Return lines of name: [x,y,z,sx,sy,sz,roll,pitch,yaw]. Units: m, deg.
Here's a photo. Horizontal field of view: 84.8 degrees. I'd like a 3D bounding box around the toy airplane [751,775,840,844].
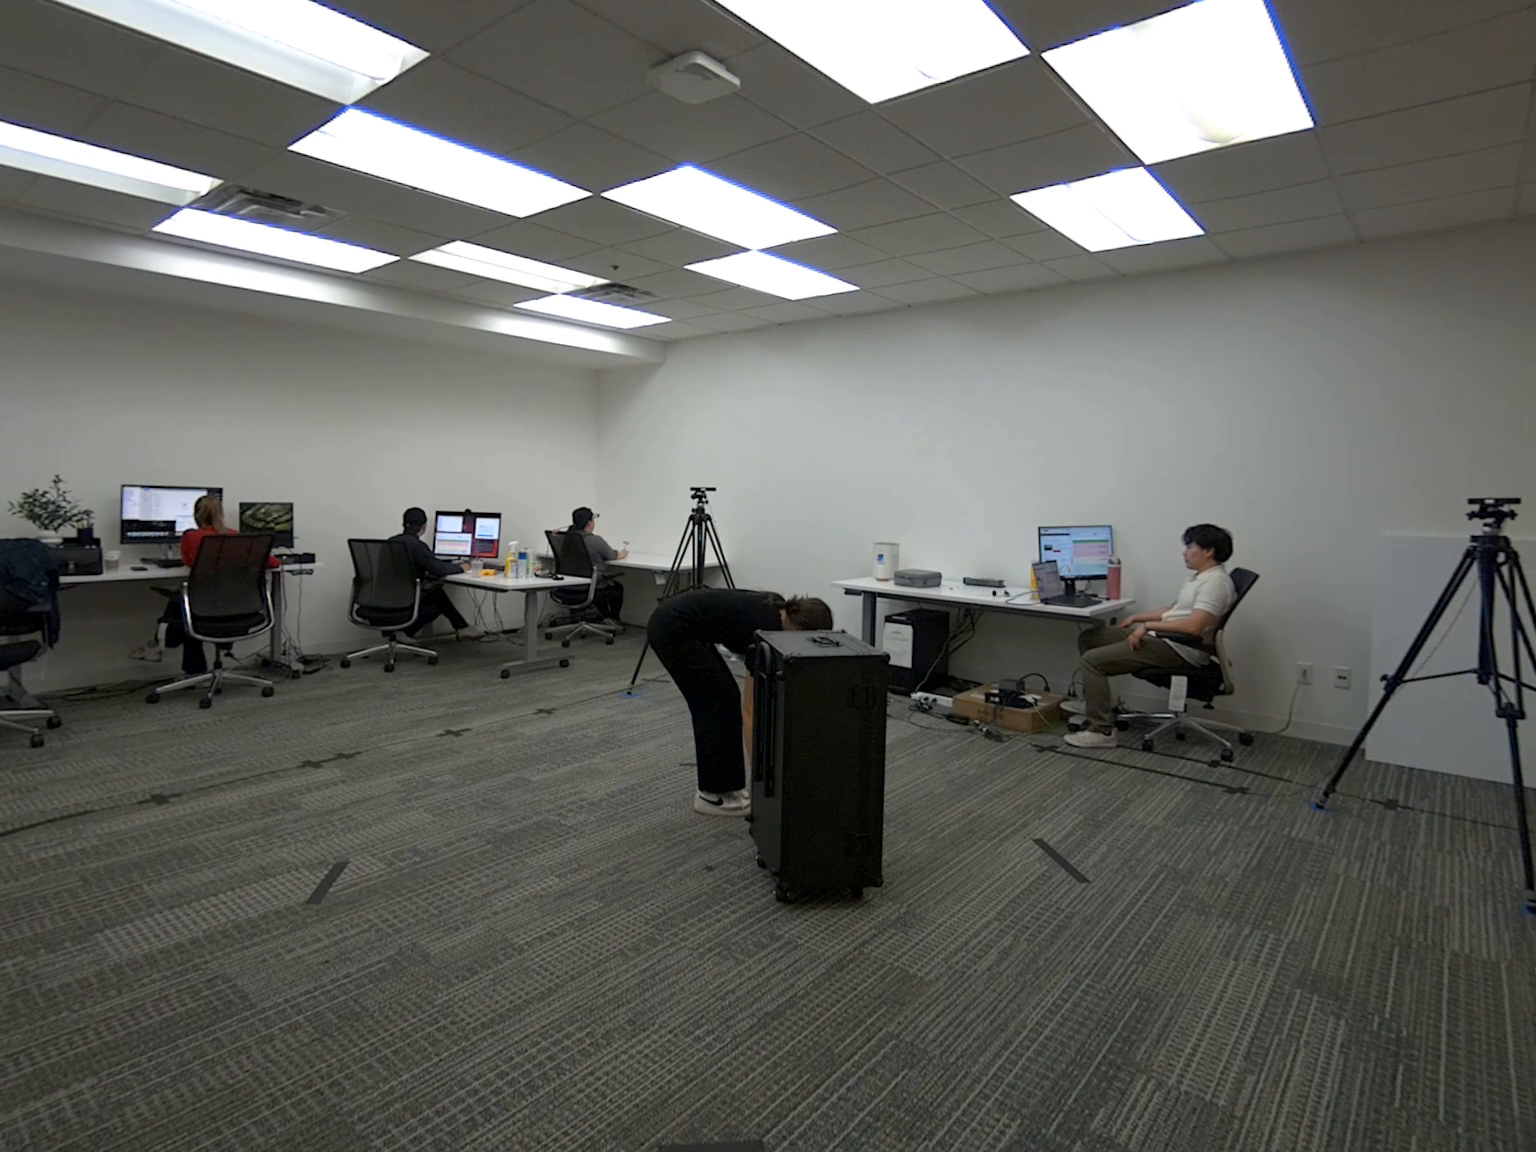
toy airplane: [0.110,0.958,3.483,0.251,0.156,0.259,-1,5,-38]
